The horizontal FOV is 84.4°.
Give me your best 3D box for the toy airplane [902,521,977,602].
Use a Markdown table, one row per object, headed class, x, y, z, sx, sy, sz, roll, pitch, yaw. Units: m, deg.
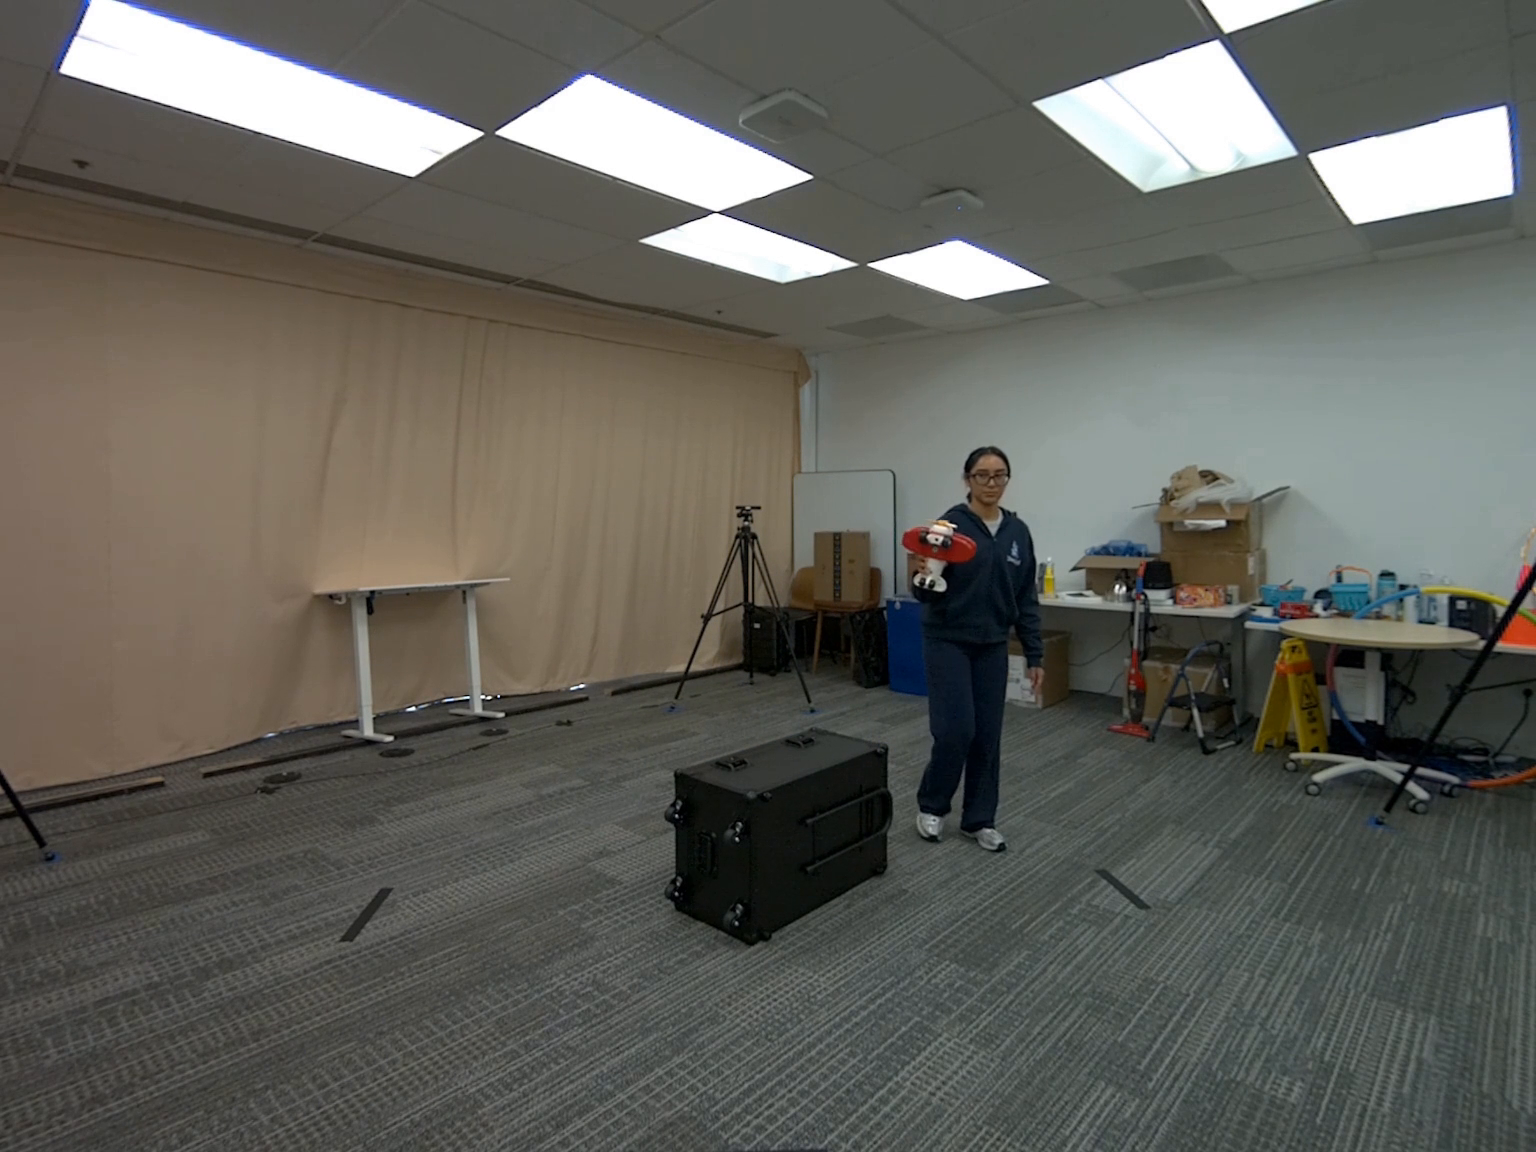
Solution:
| class | x | y | z | sx | sy | sz | roll | pitch | yaw |
| --- | --- | --- | --- | --- | --- | --- | --- | --- | --- |
| toy airplane | 0.611 | -0.087 | 3.126 | 0.254 | 0.259 | 0.154 | 39 | 35 | 9 |
